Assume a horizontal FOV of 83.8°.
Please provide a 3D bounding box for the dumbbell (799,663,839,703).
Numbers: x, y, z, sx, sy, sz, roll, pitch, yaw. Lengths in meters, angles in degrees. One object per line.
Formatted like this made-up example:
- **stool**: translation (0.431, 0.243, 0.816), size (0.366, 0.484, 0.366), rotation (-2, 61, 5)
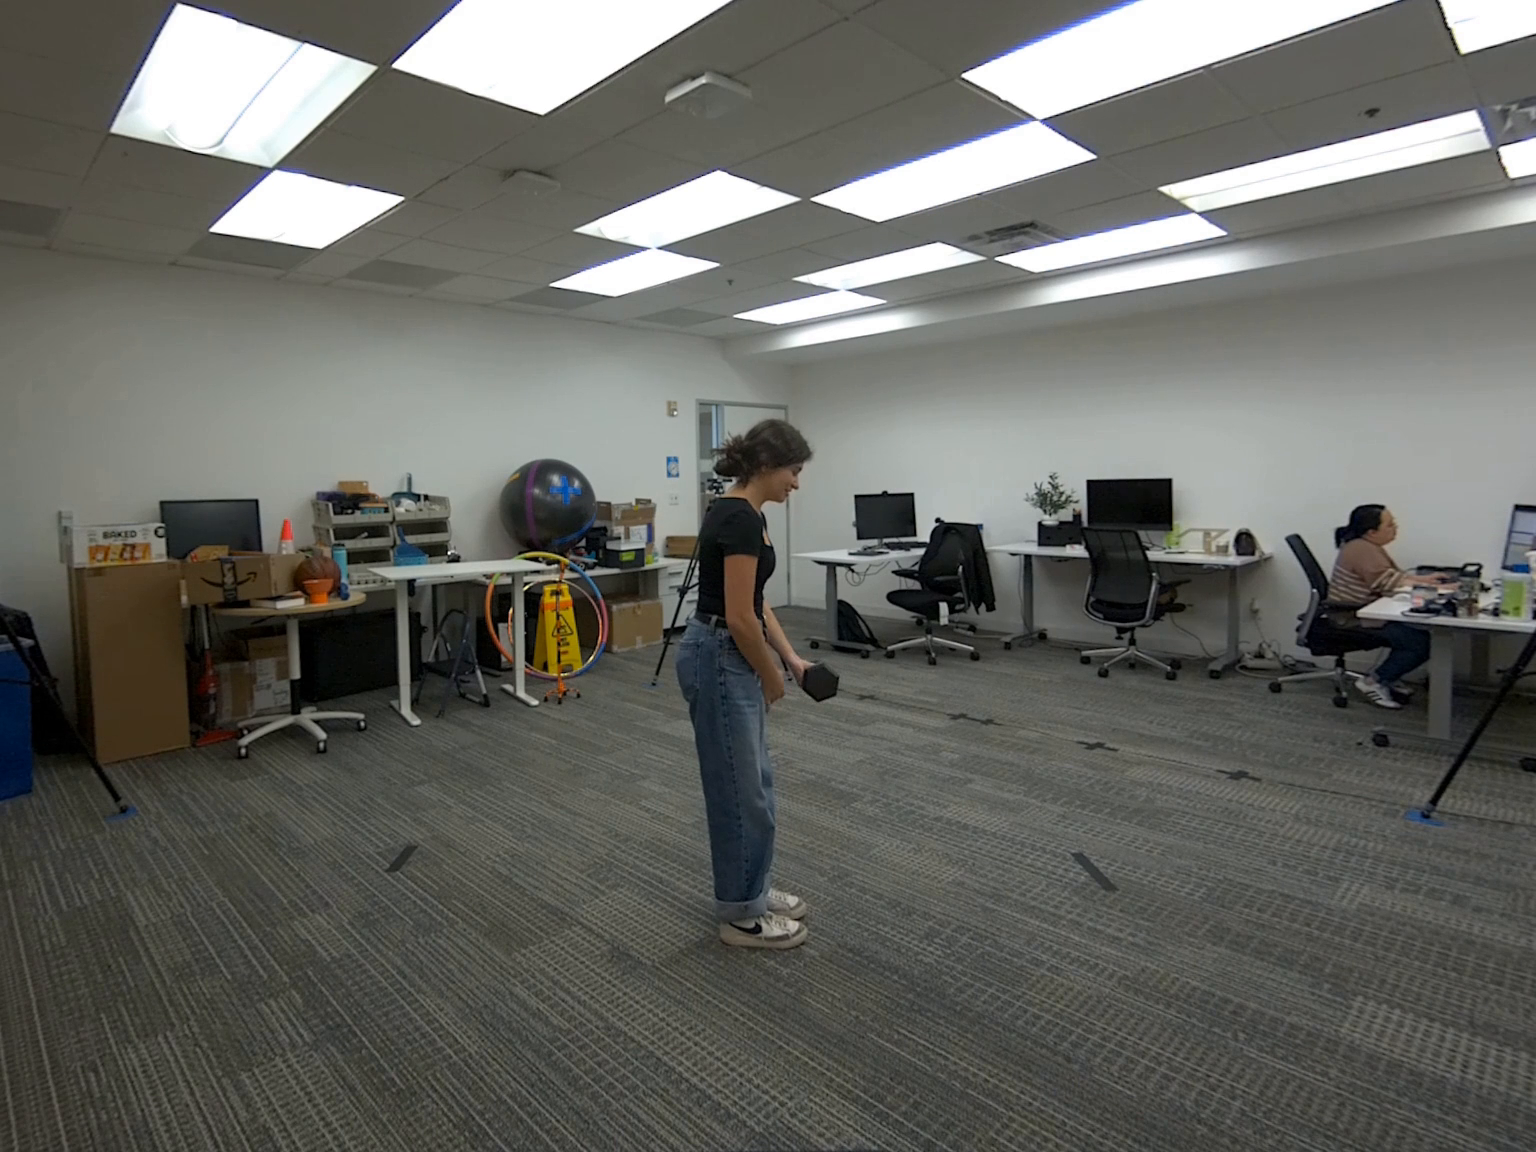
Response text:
- **dumbbell**: translation (0.159, 0.325, 2.711), size (0.124, 0.109, 0.292), rotation (39, -4, 2)
